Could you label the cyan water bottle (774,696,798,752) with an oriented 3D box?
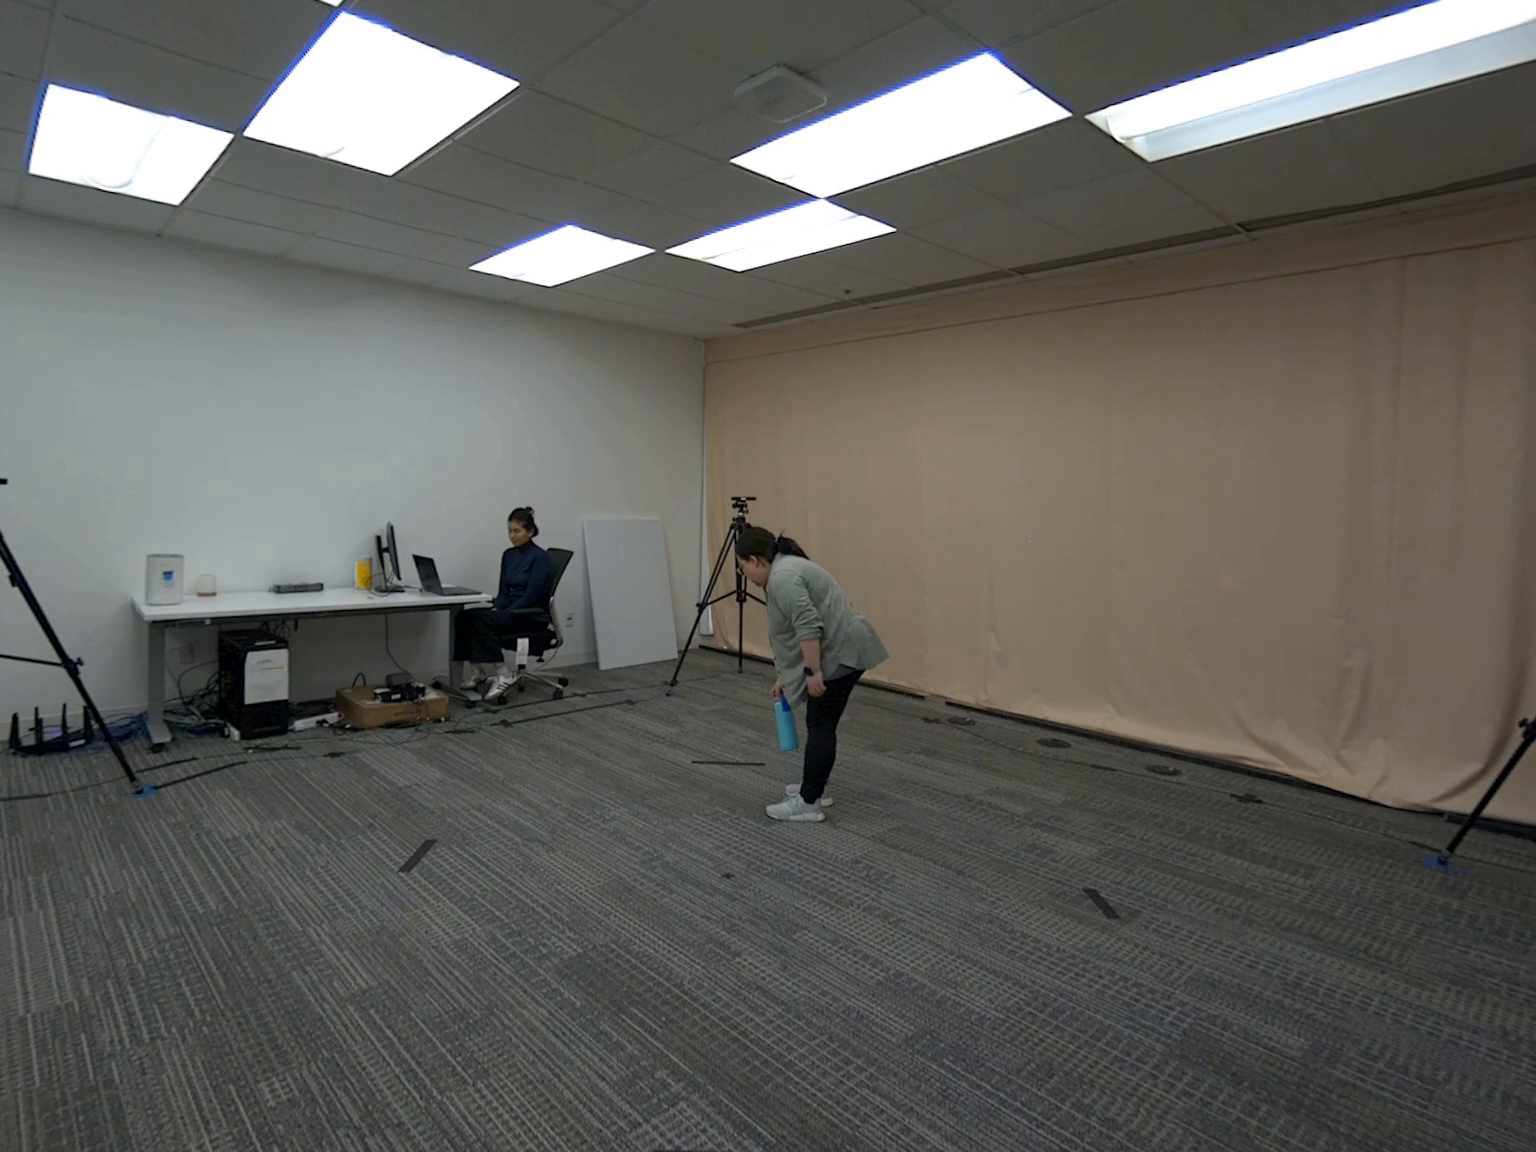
[{"bbox_3d":[0.079,0.687,4.036,0.092,0.287,0.091,-8,-14,-3],"label":"cyan water bottle"}]
